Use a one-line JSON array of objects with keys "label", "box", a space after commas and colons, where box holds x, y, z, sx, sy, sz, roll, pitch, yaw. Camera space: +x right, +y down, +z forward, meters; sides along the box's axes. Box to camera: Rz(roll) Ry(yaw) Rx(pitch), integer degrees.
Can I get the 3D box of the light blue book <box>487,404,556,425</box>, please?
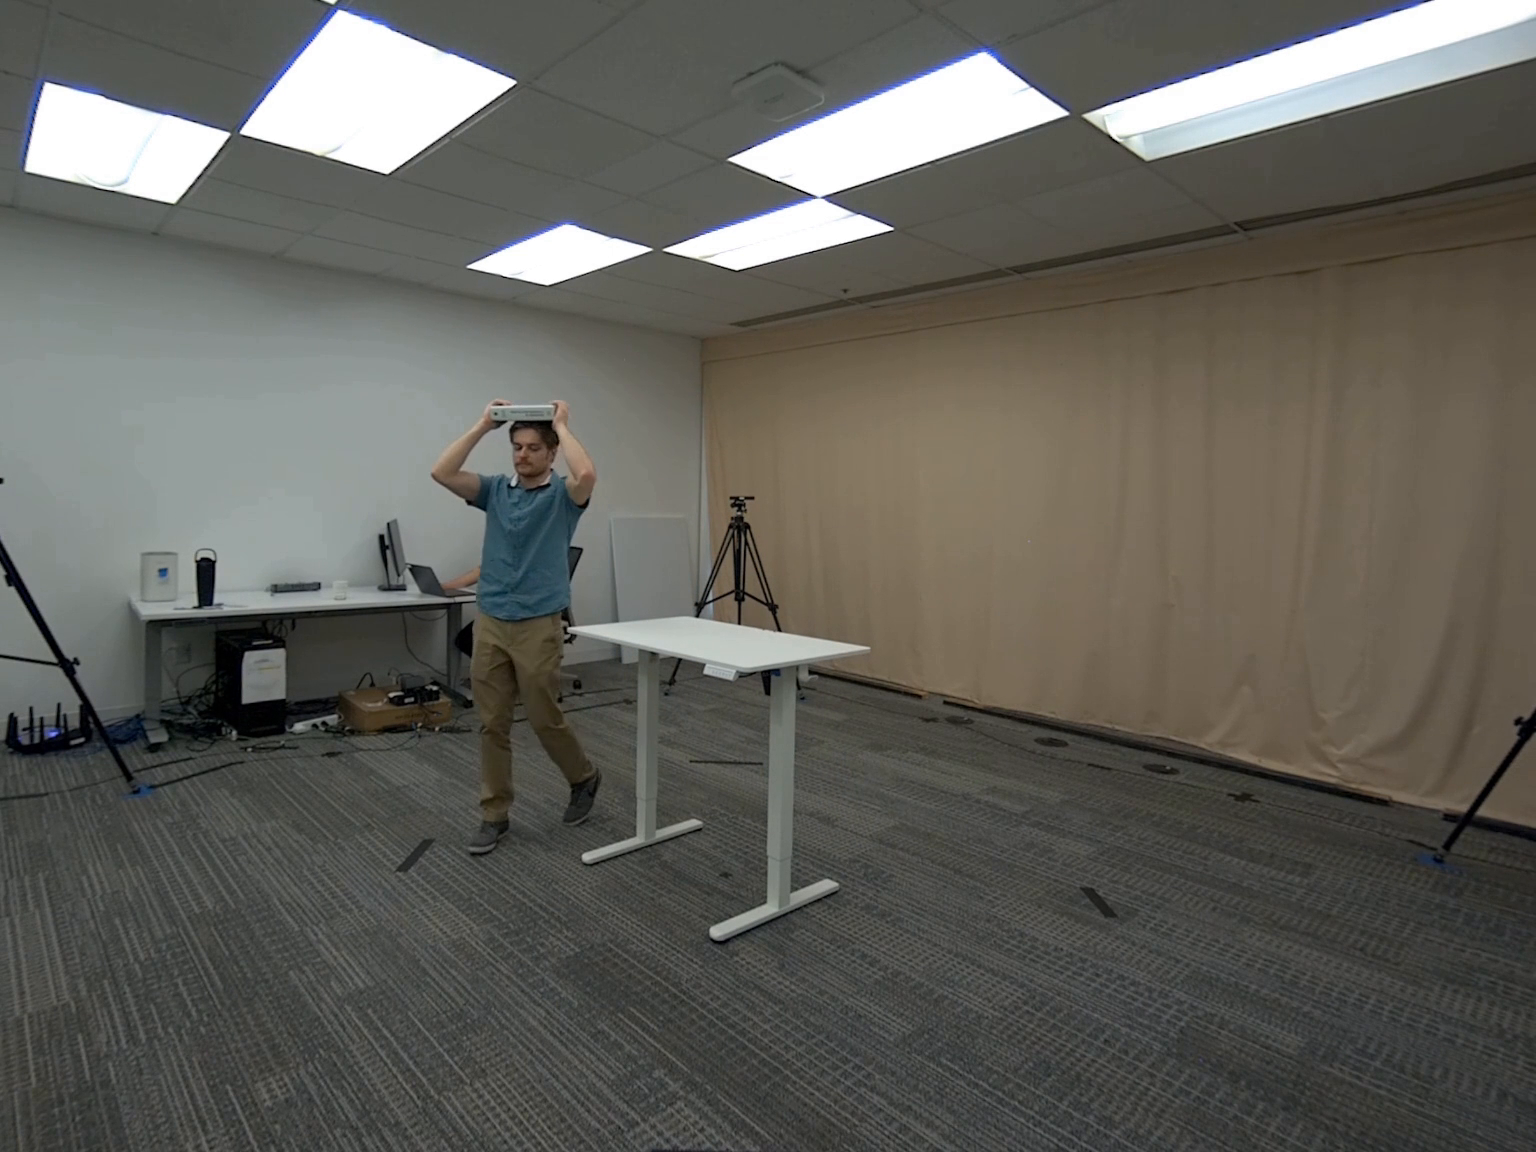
[{"label": "light blue book", "box": [-0.957, -0.653, 3.358, 0.263, 0.058, 0.192, 1, 15, 9]}]
